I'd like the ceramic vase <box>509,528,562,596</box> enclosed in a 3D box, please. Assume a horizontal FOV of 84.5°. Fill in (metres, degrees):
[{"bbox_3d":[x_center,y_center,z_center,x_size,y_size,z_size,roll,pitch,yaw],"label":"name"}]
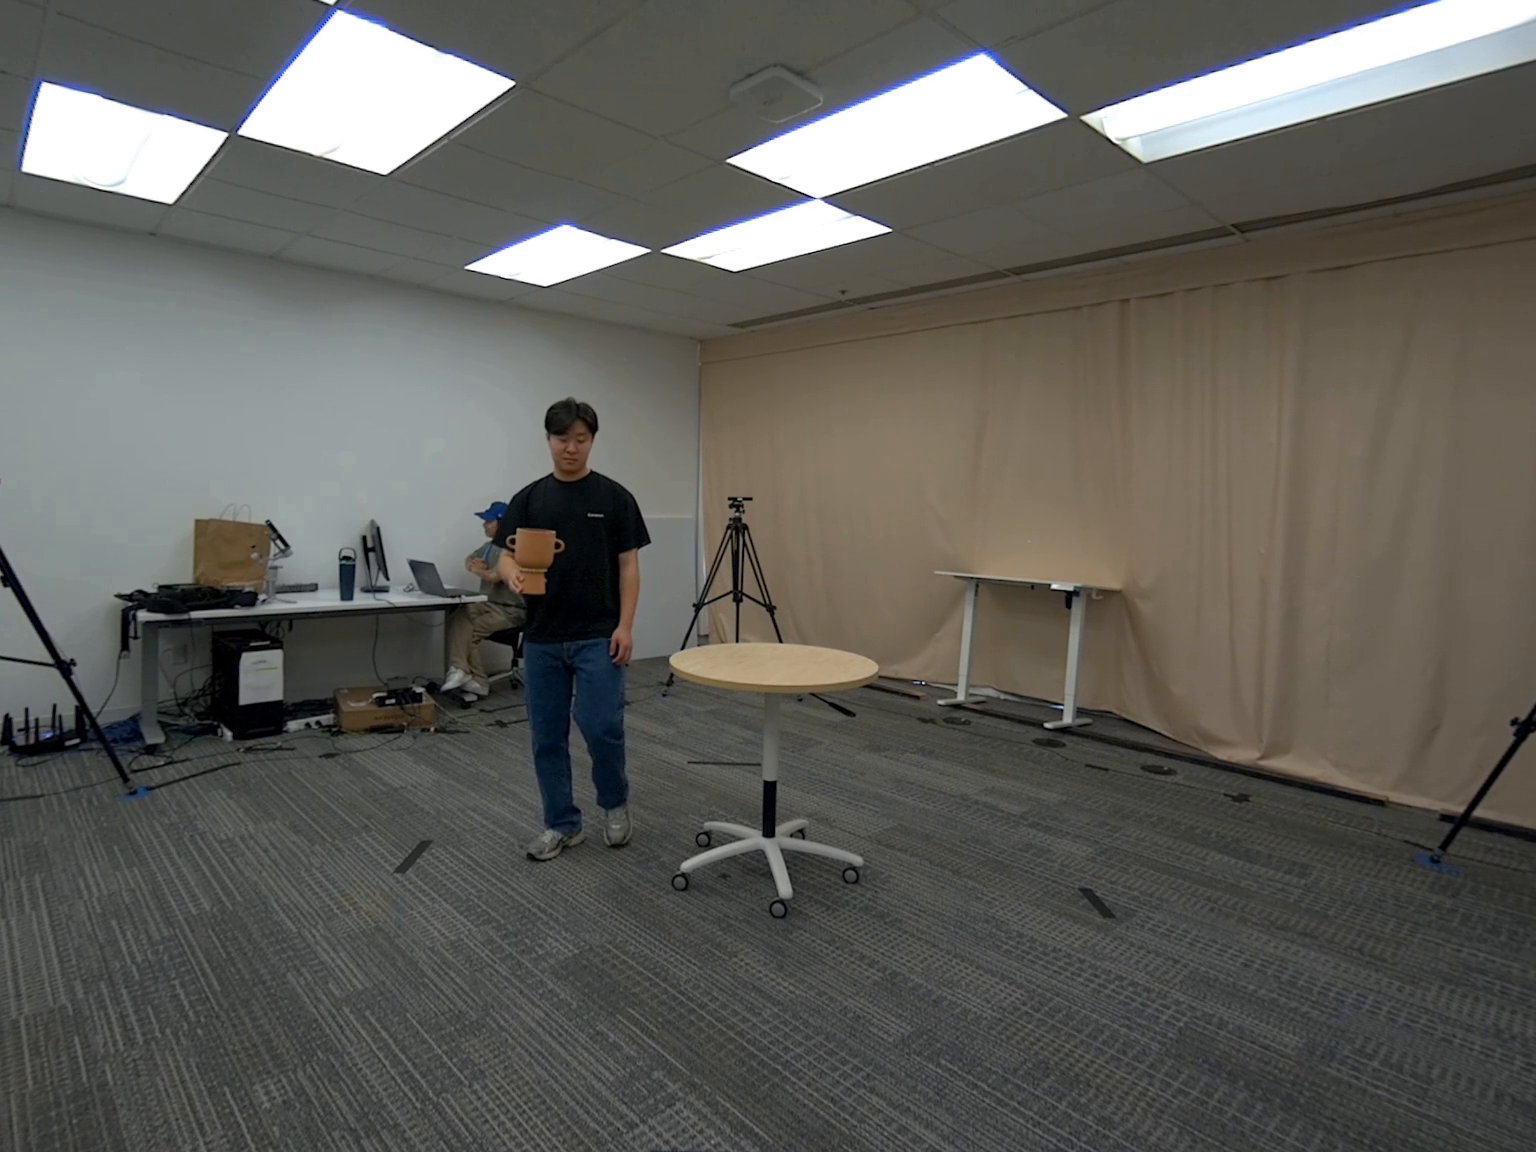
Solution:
[{"bbox_3d":[-0.840,-0.051,2.951,0.162,0.219,0.132,7,4,29],"label":"ceramic vase"}]
